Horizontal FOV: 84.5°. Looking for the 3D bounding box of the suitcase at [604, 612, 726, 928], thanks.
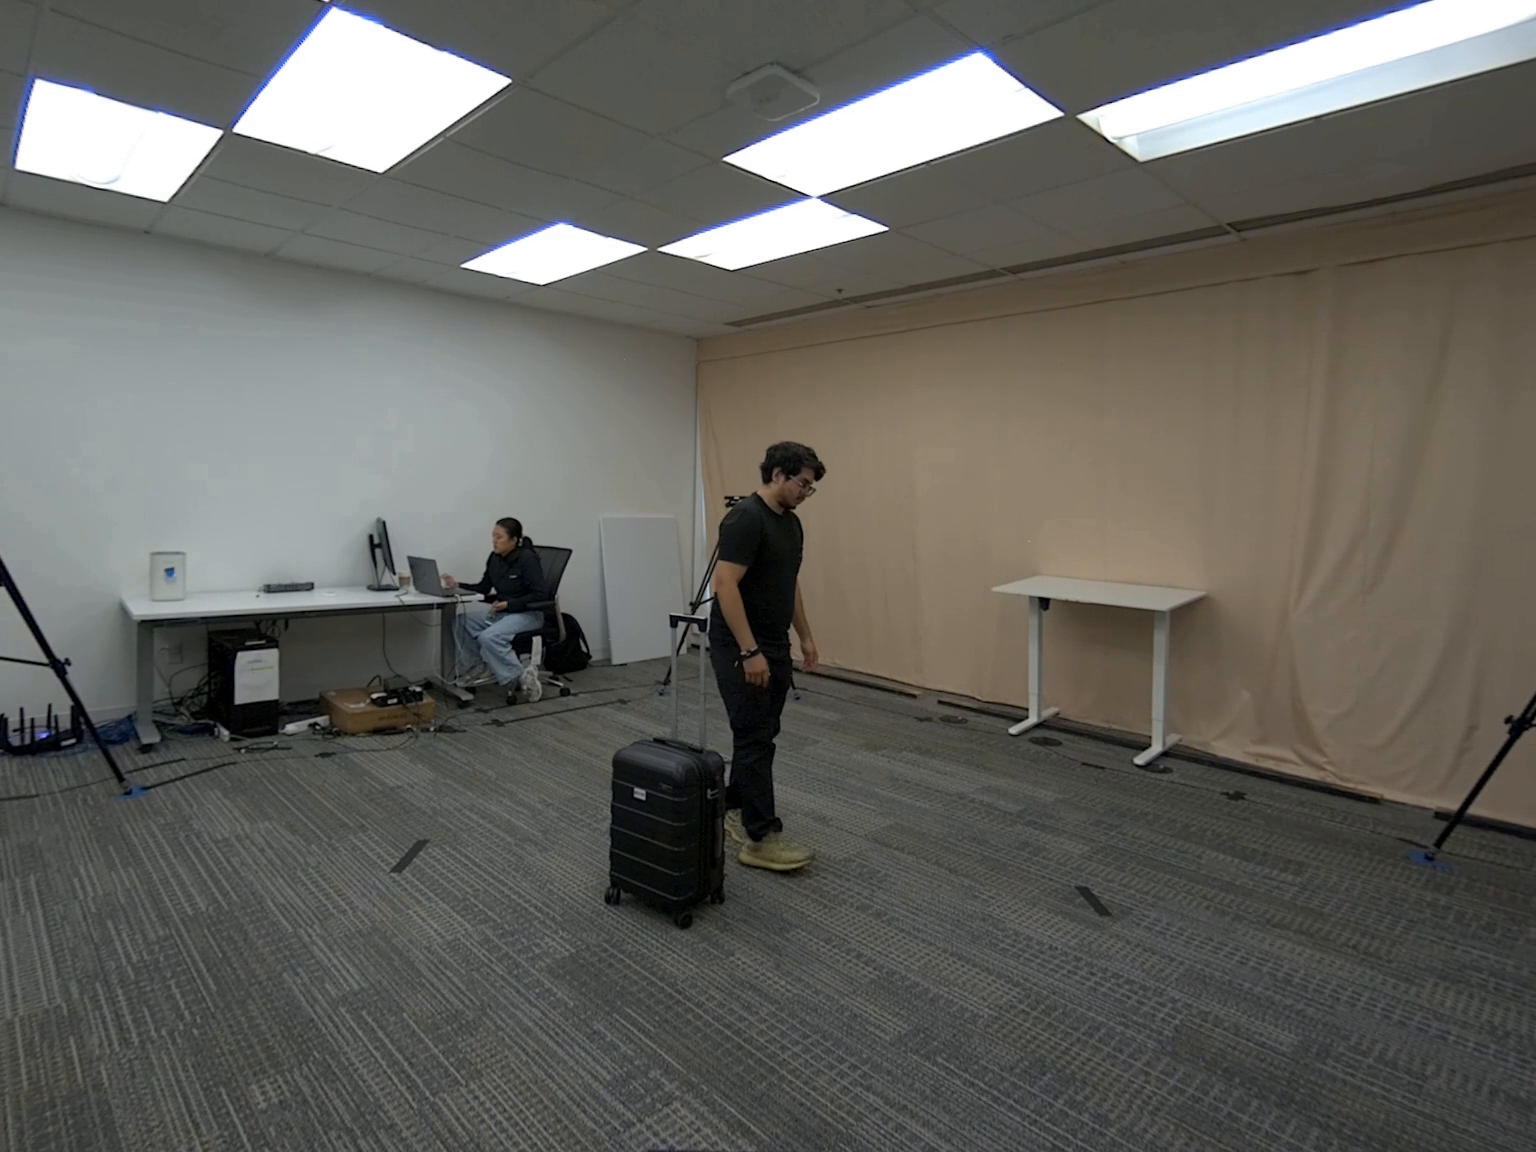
[{"bbox_3d":[-0.351,0.646,2.846,0.393,0.975,0.252,4,6,35],"label":"suitcase"}]
